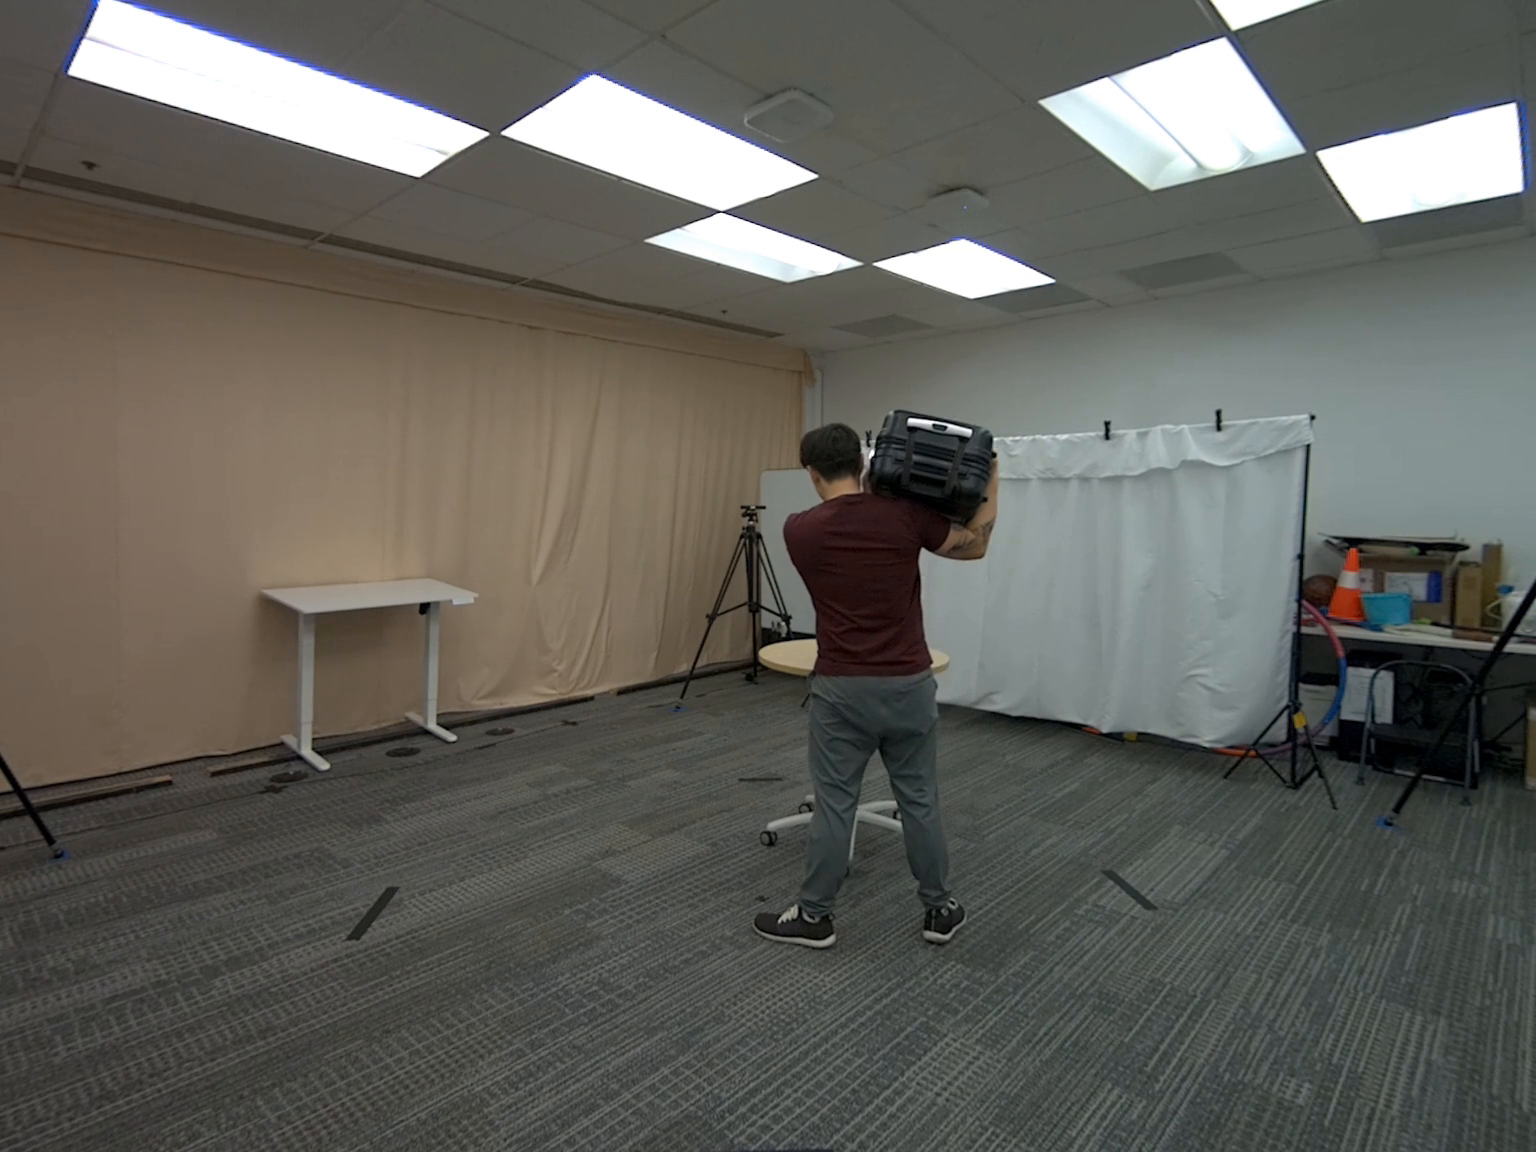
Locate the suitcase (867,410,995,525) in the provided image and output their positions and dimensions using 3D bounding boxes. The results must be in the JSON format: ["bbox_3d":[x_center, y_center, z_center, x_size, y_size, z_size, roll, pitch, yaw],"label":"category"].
[{"bbox_3d":[0.516,-0.373,2.571,0.389,0.258,0.962,17,-12,10],"label":"suitcase"}]
